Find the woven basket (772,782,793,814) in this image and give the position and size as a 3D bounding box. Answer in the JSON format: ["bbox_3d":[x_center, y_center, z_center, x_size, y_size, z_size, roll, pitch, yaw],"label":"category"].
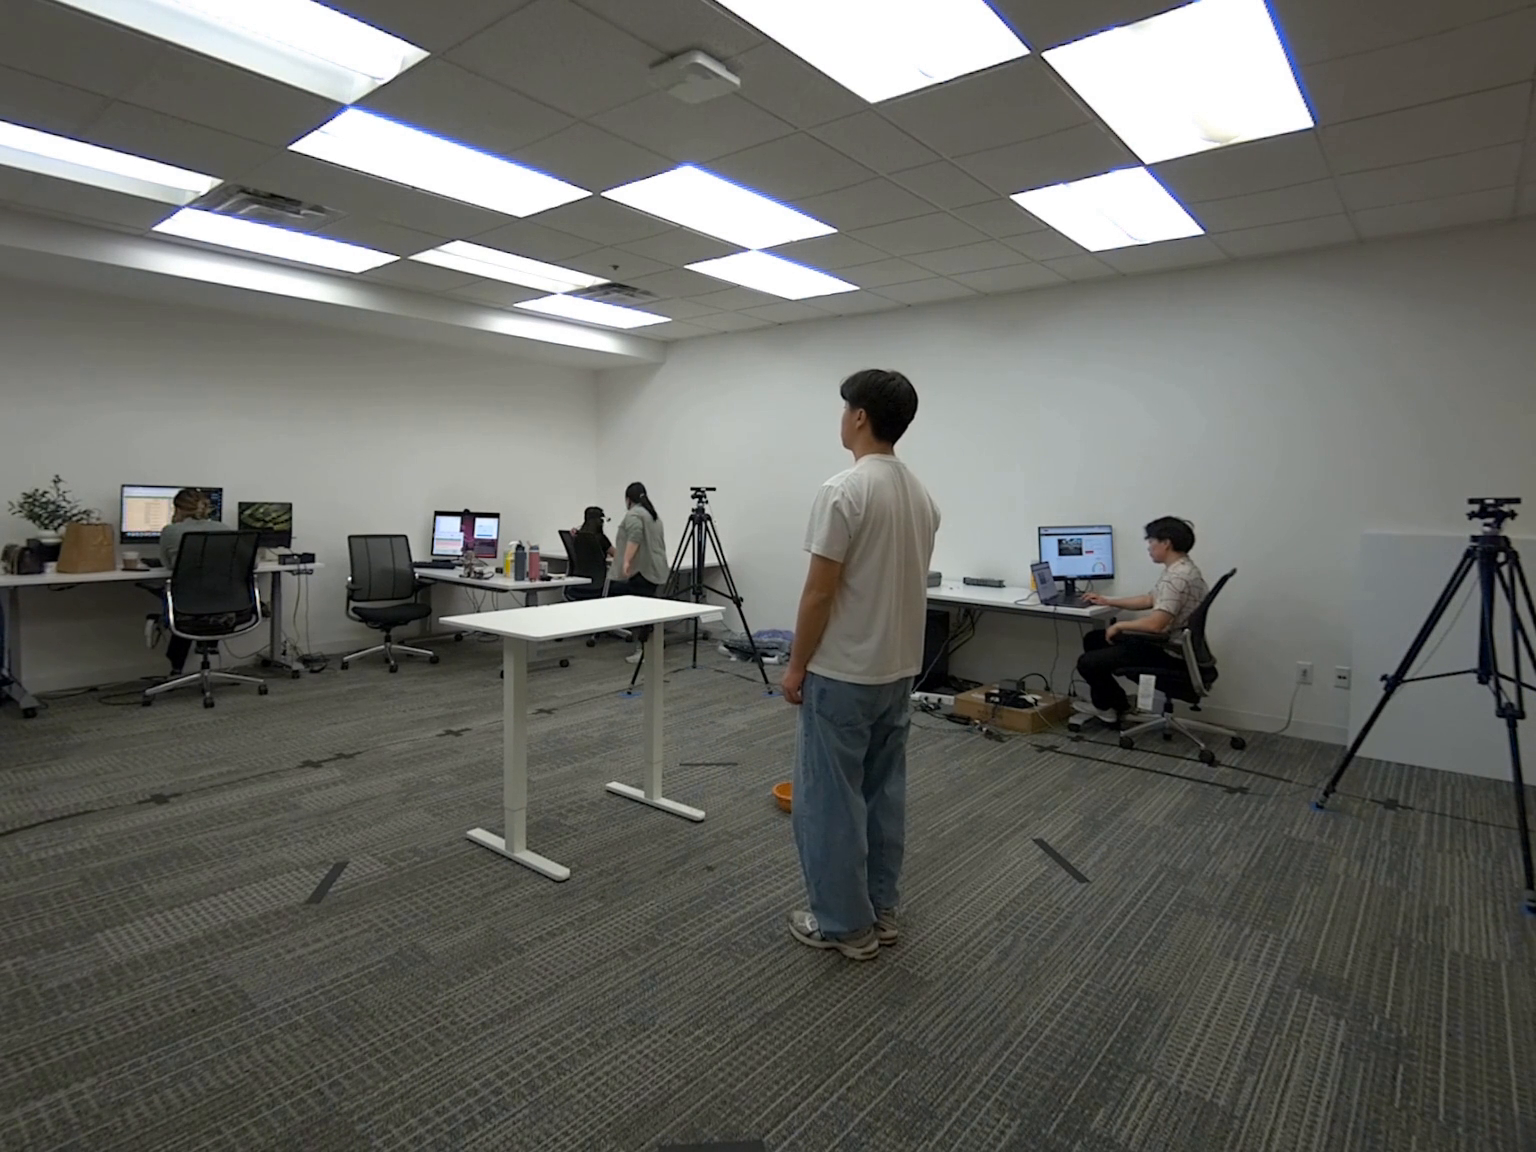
[{"bbox_3d":[0.175,0.964,3.722,0.357,0.073,0.248,2,5,17],"label":"woven basket"}]
